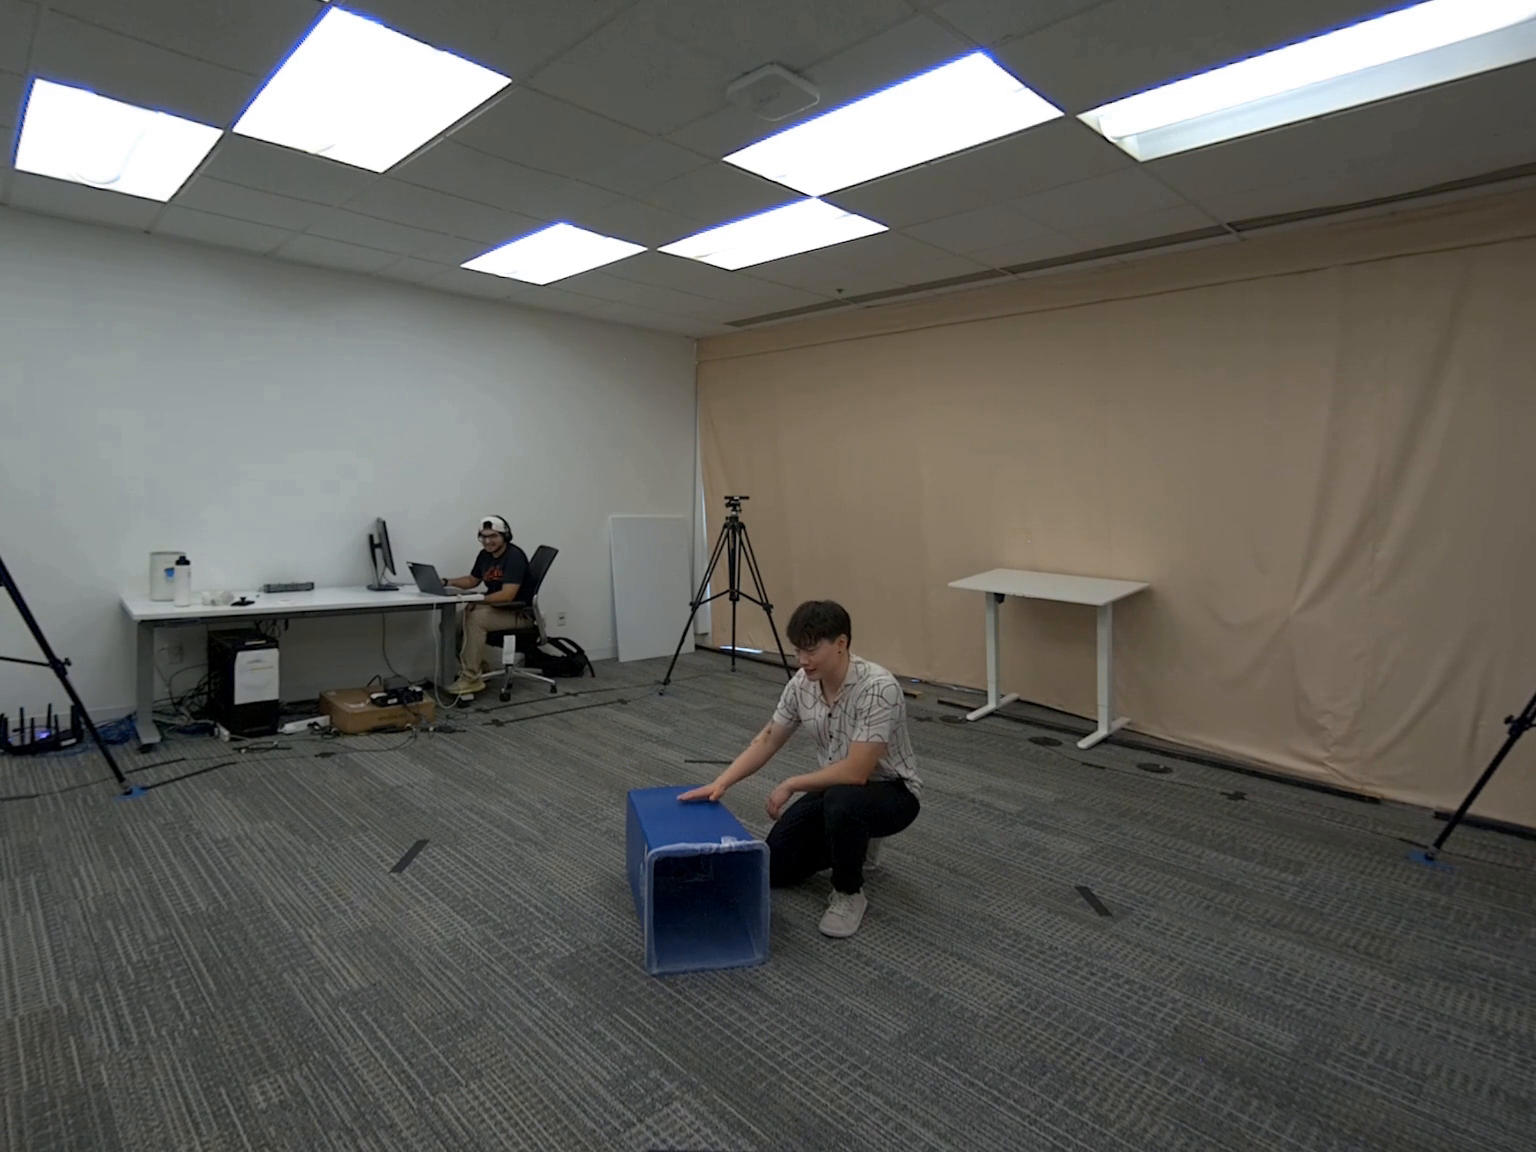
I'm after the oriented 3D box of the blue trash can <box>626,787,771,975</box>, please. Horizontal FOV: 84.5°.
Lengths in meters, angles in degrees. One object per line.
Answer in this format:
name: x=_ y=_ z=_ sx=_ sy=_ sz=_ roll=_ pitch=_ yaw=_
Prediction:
blue trash can: x=-0.274 y=0.959 z=2.807 sx=0.373 sy=0.374 sz=0.722 roll=1 pitch=1 yaw=-16
